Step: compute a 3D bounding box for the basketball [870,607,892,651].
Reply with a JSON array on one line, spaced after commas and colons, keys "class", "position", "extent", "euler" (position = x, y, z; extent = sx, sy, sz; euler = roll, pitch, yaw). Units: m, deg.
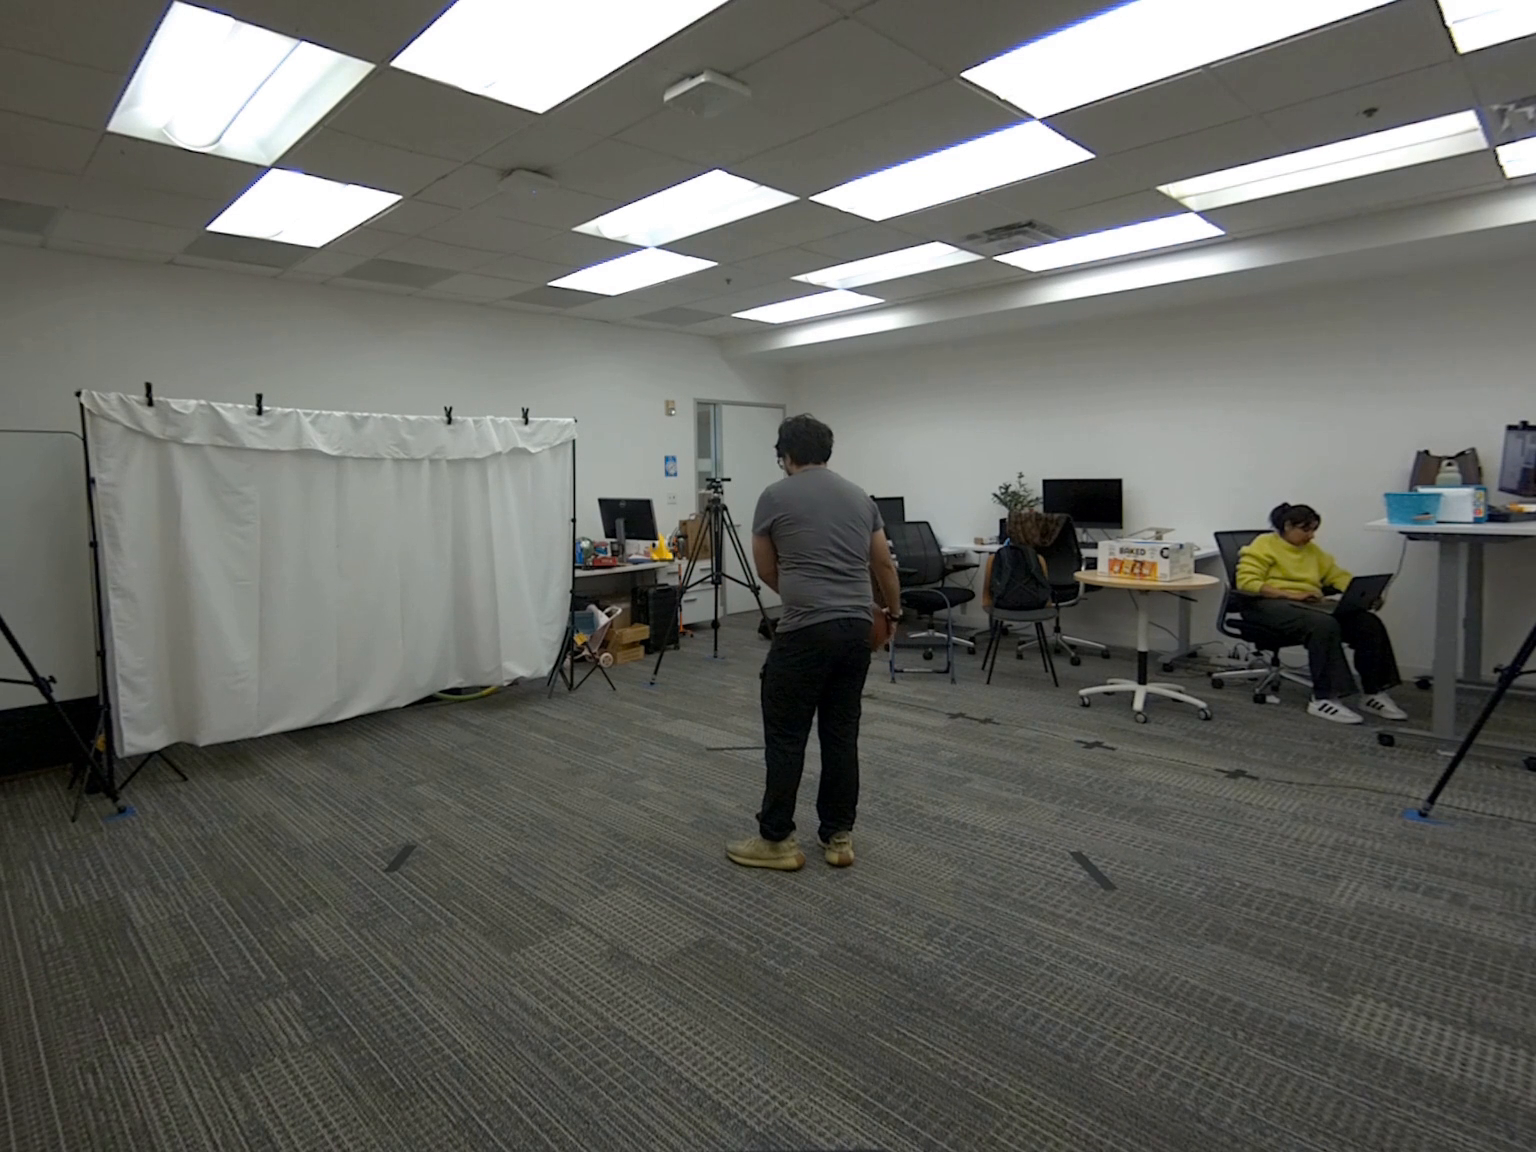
[{"class": "basketball", "position": [0.364, 0.199, 3.442], "extent": [0.236, 0.235, 0.237], "euler": [-1, 5, -2]}]
